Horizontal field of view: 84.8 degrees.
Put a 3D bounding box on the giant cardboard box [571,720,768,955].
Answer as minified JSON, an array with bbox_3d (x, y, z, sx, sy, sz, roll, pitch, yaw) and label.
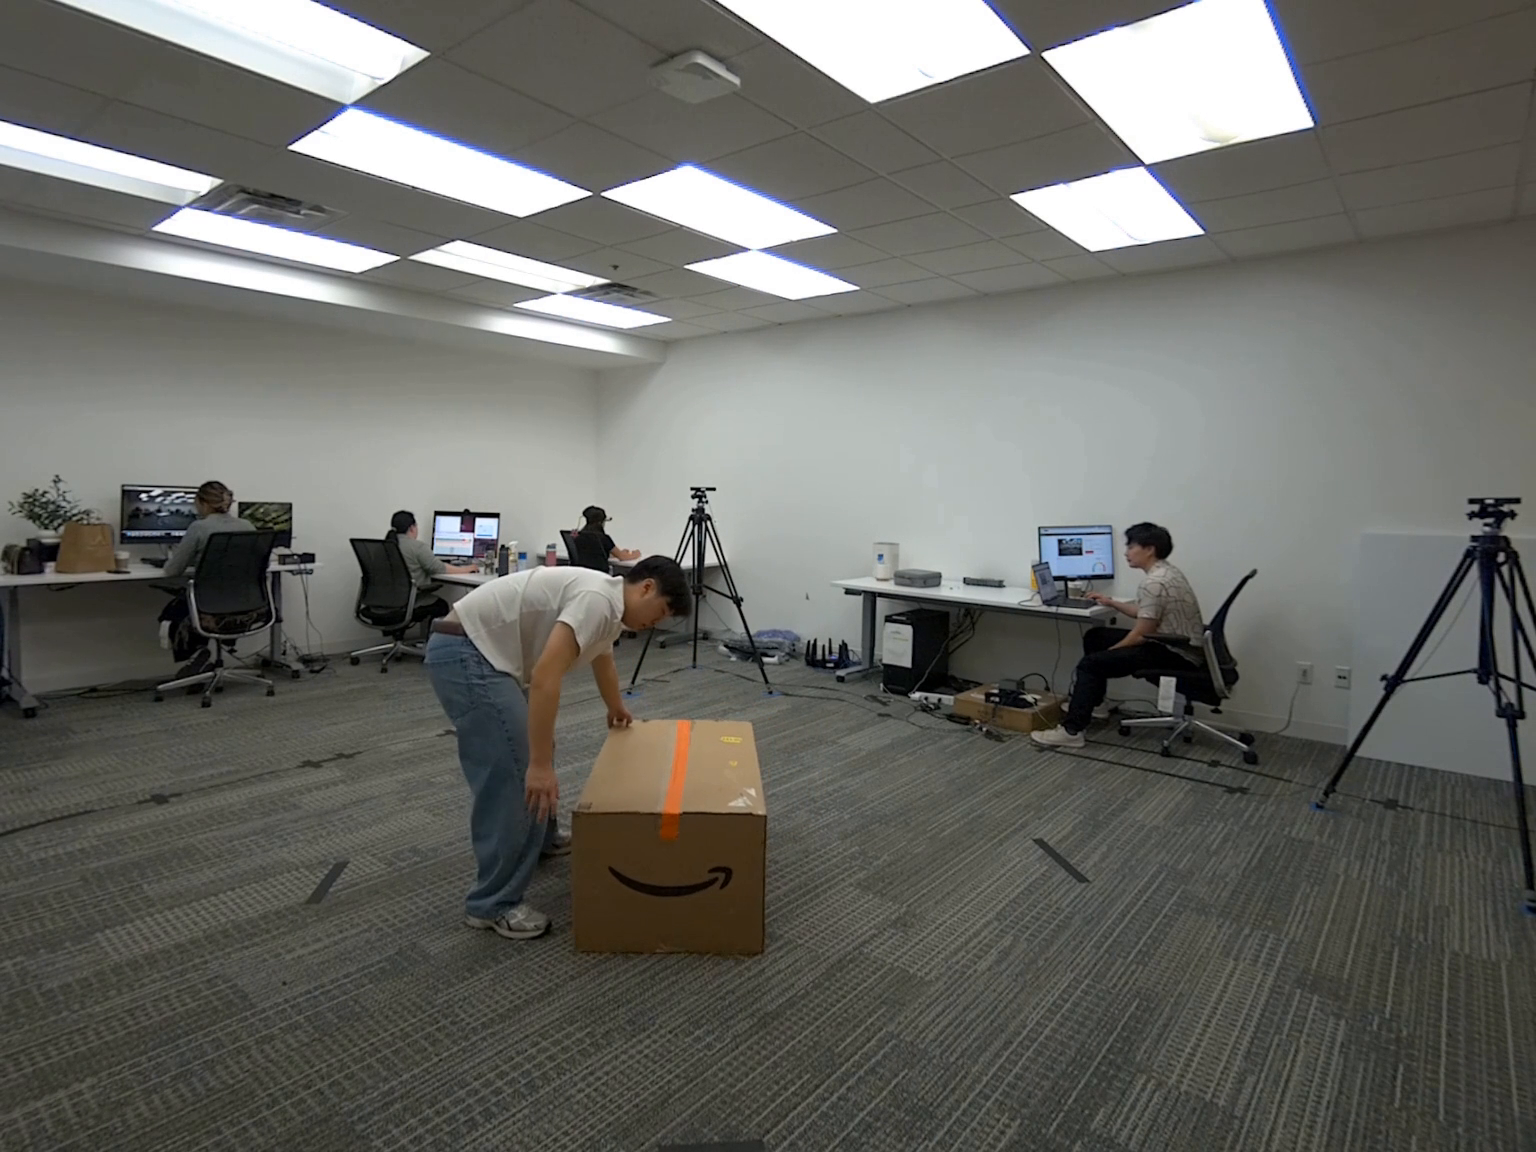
[{"bbox_3d":[-0.327,0.855,3.024,0.577,0.424,1.031,1,5,-3],"label":"giant cardboard box"}]
